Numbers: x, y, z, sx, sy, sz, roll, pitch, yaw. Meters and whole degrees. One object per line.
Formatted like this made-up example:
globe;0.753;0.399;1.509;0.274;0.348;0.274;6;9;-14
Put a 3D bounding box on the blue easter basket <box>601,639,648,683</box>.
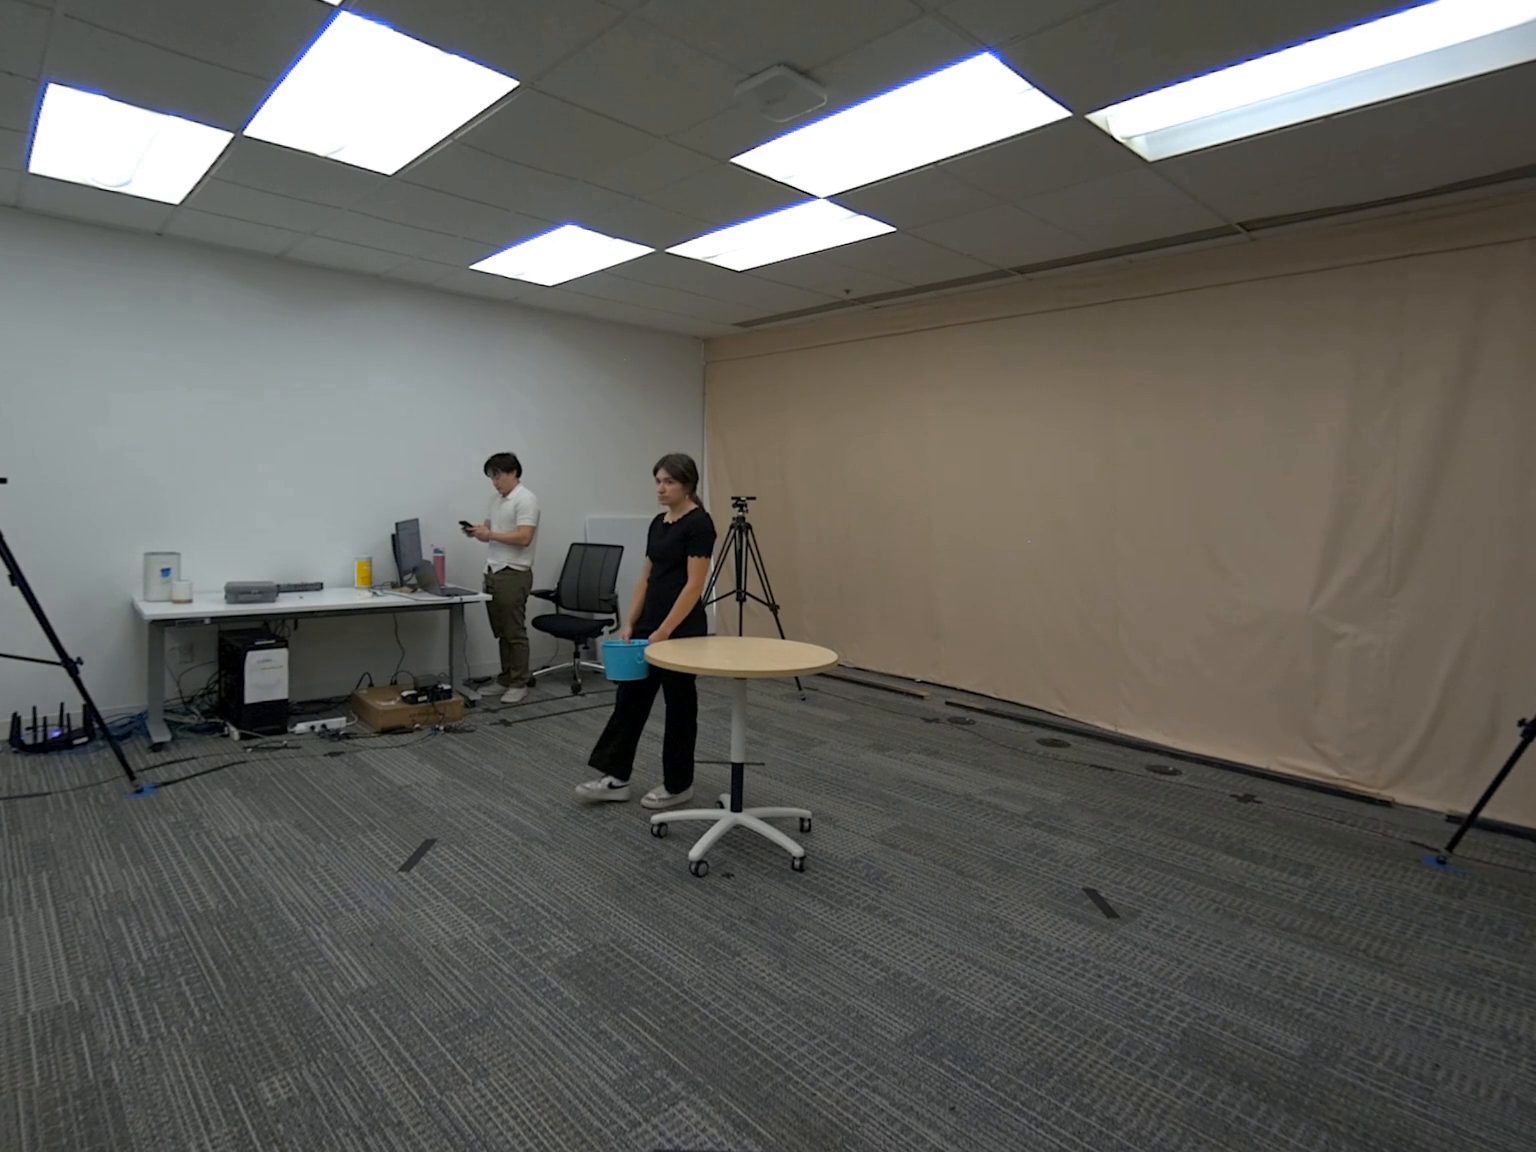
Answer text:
blue easter basket;-0.620;0.365;3.666;0.243;0.156;0.244;-2;1;-1
